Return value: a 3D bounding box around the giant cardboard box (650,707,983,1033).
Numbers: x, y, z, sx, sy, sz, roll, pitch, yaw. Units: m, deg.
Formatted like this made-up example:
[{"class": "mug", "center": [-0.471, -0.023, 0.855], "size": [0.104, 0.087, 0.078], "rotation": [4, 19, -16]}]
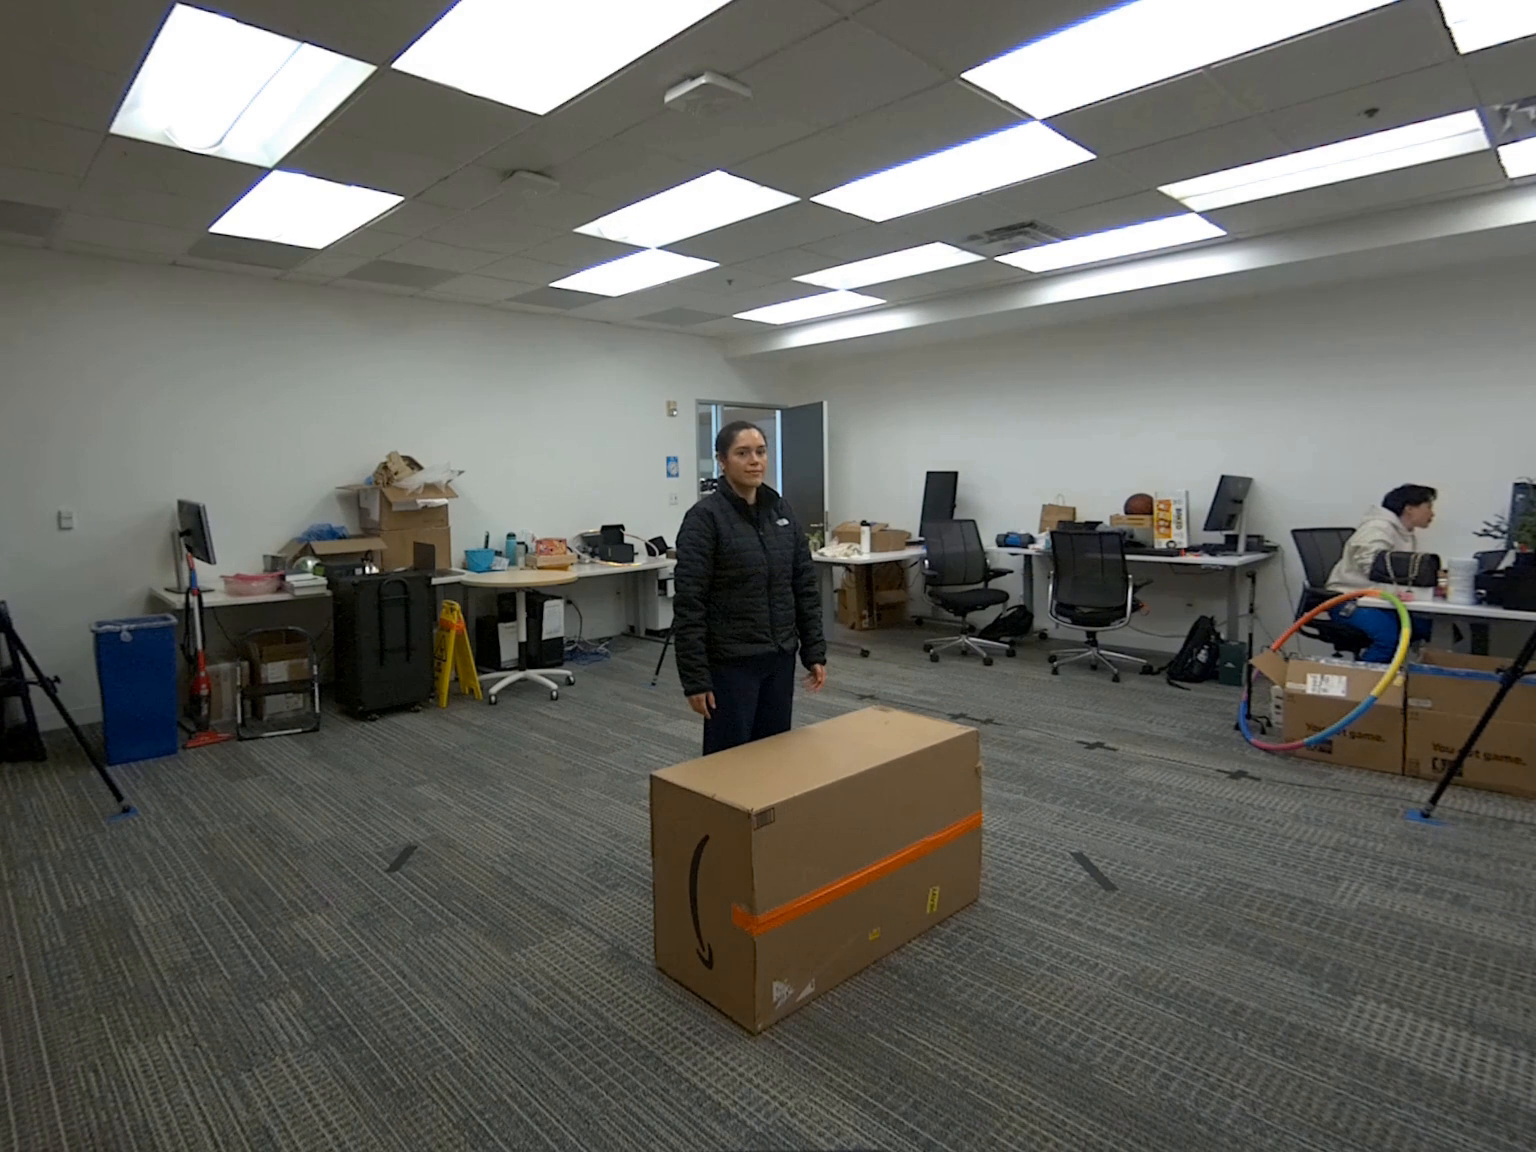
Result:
[{"class": "giant cardboard box", "center": [0.185, 0.811, 2.625], "size": [1.000, 0.582, 0.460], "rotation": [-7, 6, -42]}]
